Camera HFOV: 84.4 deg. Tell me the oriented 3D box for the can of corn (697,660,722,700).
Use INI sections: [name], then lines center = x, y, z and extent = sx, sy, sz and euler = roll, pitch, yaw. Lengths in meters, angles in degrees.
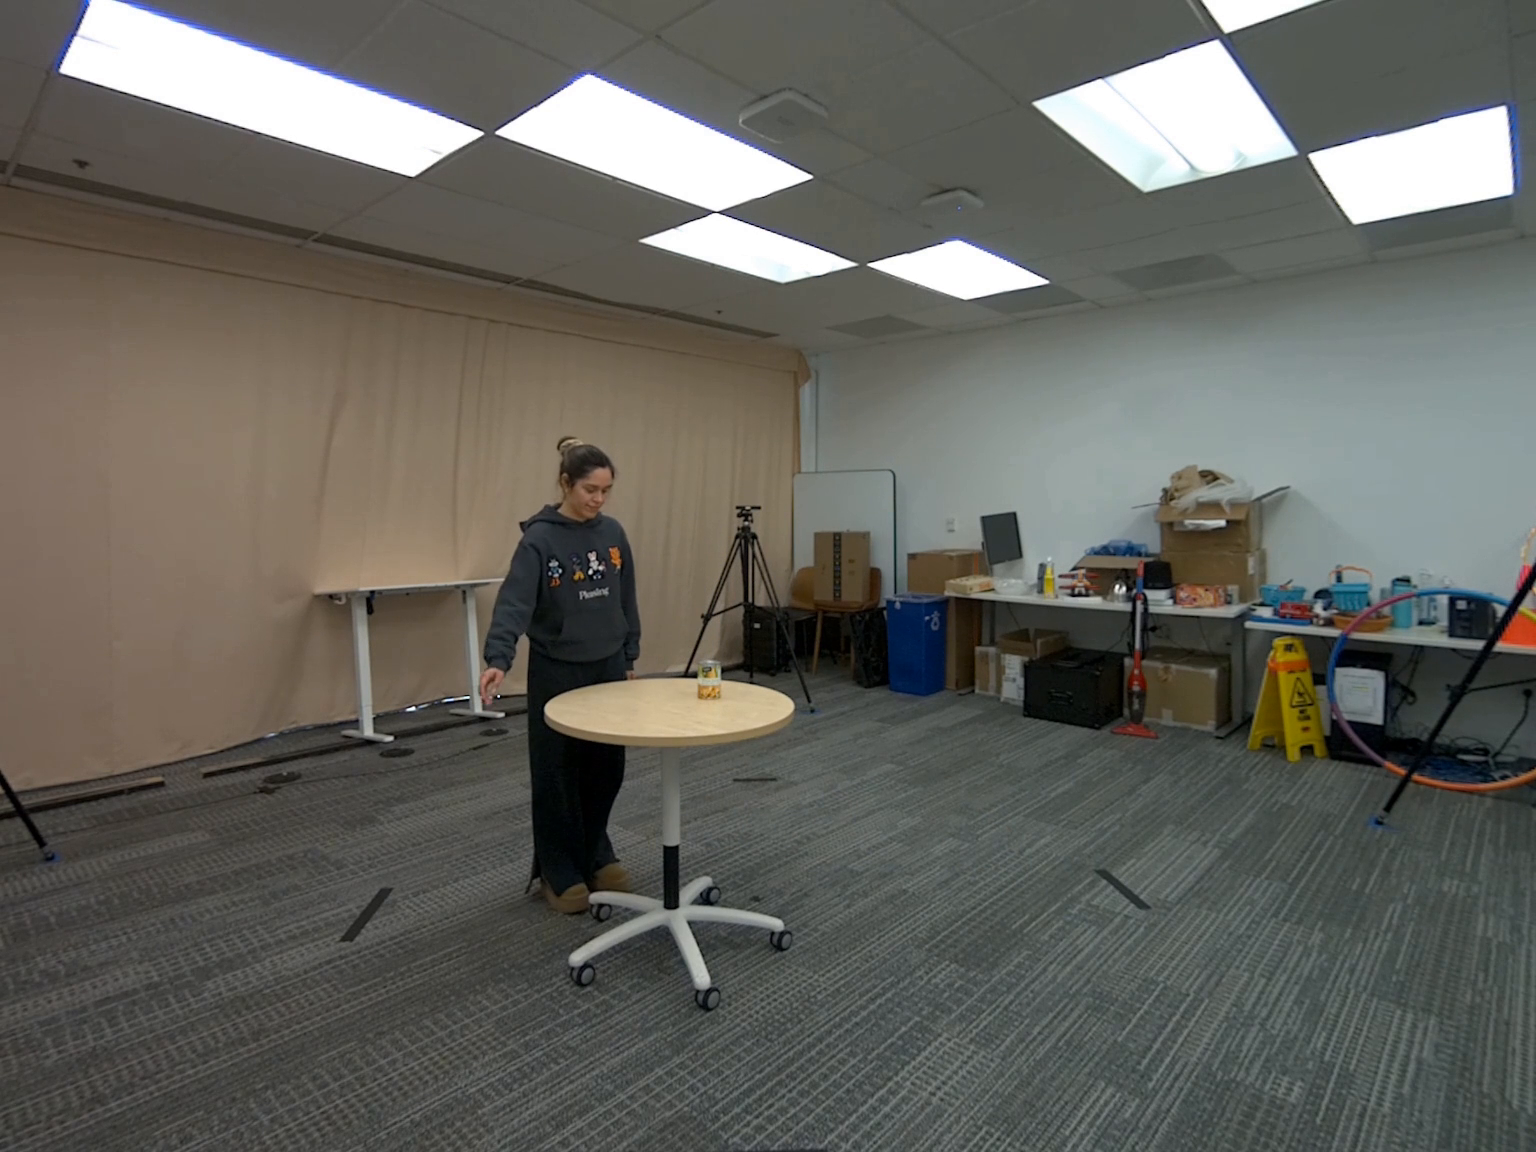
[can of corn]
center = -0.177, 0.334, 2.679
extent = 0.074, 0.111, 0.074
euler = -1, 3, -2
